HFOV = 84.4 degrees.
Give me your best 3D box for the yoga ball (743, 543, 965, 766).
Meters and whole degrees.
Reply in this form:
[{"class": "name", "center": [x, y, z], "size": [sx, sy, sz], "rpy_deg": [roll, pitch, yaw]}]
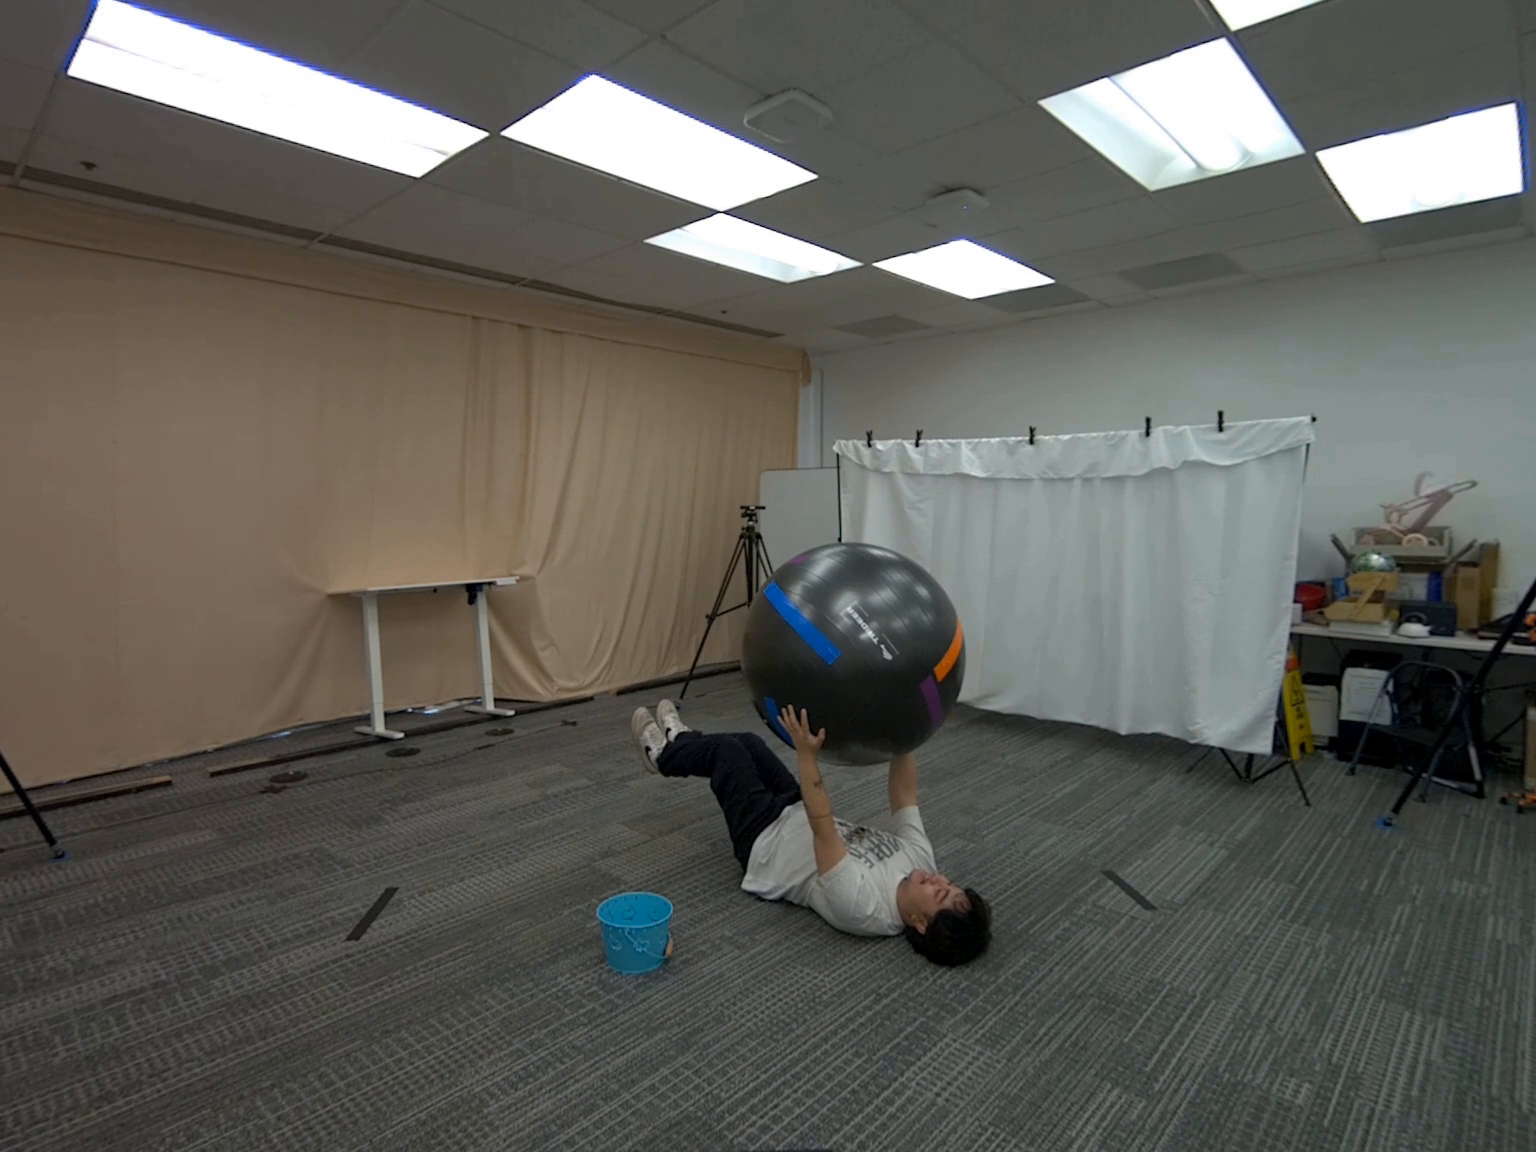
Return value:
[{"class": "yoga ball", "center": [0.286, 0.271, 2.885], "size": [0.757, 0.756, 0.761], "rpy_deg": [0, 4, -2]}]
